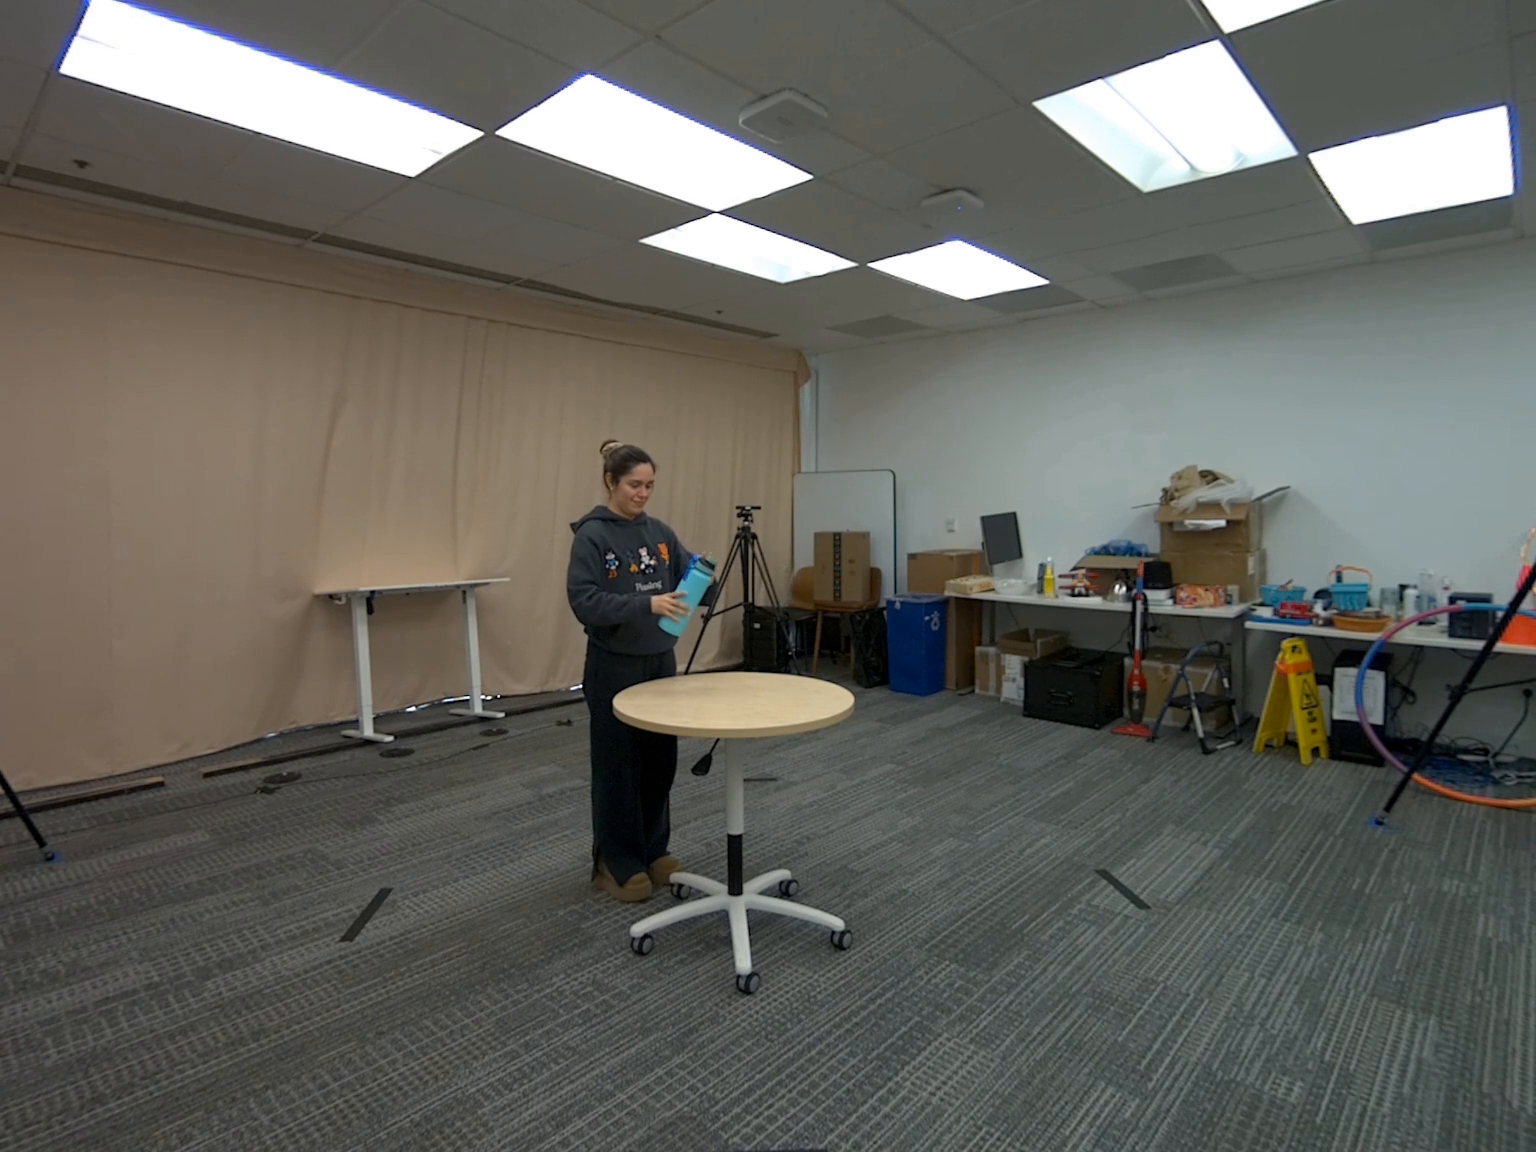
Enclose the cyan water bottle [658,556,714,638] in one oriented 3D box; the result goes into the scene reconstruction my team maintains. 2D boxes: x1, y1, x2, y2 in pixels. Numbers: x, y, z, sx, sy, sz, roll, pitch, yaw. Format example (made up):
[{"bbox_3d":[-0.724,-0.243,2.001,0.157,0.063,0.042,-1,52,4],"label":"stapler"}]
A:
[{"bbox_3d":[-0.261,0.063,2.813,0.092,0.283,0.093,26,7,-5],"label":"cyan water bottle"}]
